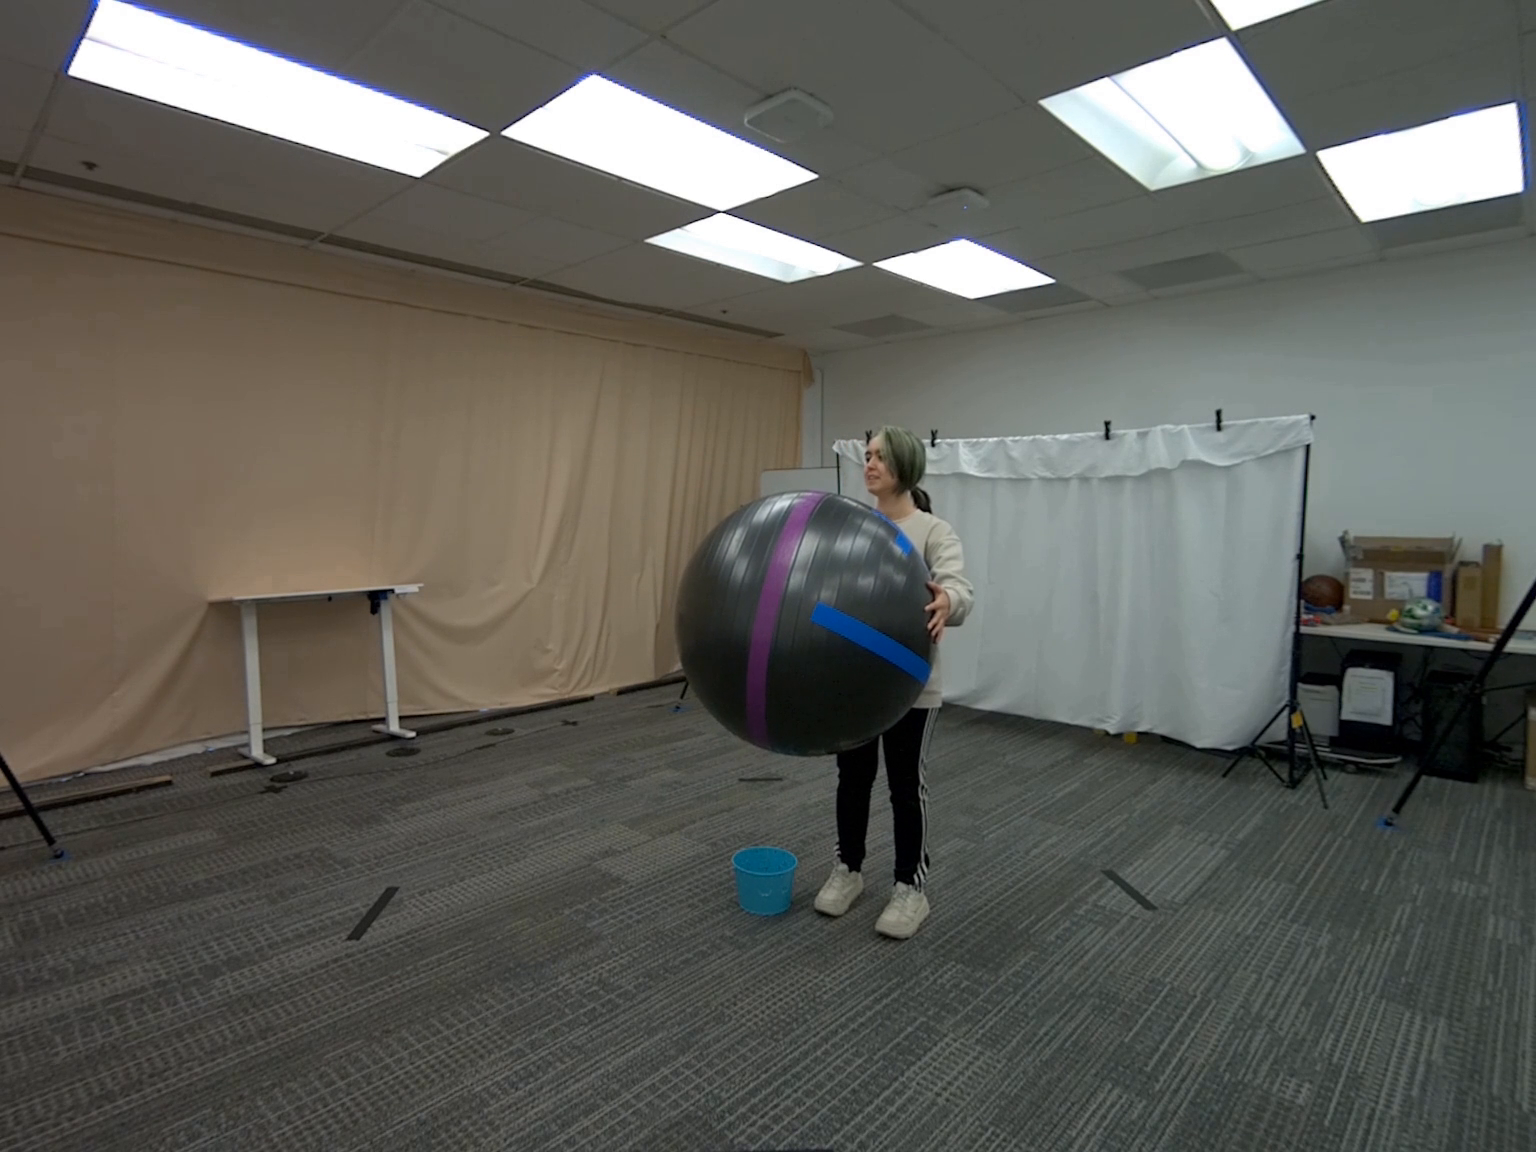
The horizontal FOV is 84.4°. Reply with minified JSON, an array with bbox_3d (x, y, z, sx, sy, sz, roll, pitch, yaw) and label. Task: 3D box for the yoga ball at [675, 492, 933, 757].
[{"bbox_3d":[0.104,0.138,2.428,0.757,0.756,0.760,0,4,-2],"label":"yoga ball"}]
